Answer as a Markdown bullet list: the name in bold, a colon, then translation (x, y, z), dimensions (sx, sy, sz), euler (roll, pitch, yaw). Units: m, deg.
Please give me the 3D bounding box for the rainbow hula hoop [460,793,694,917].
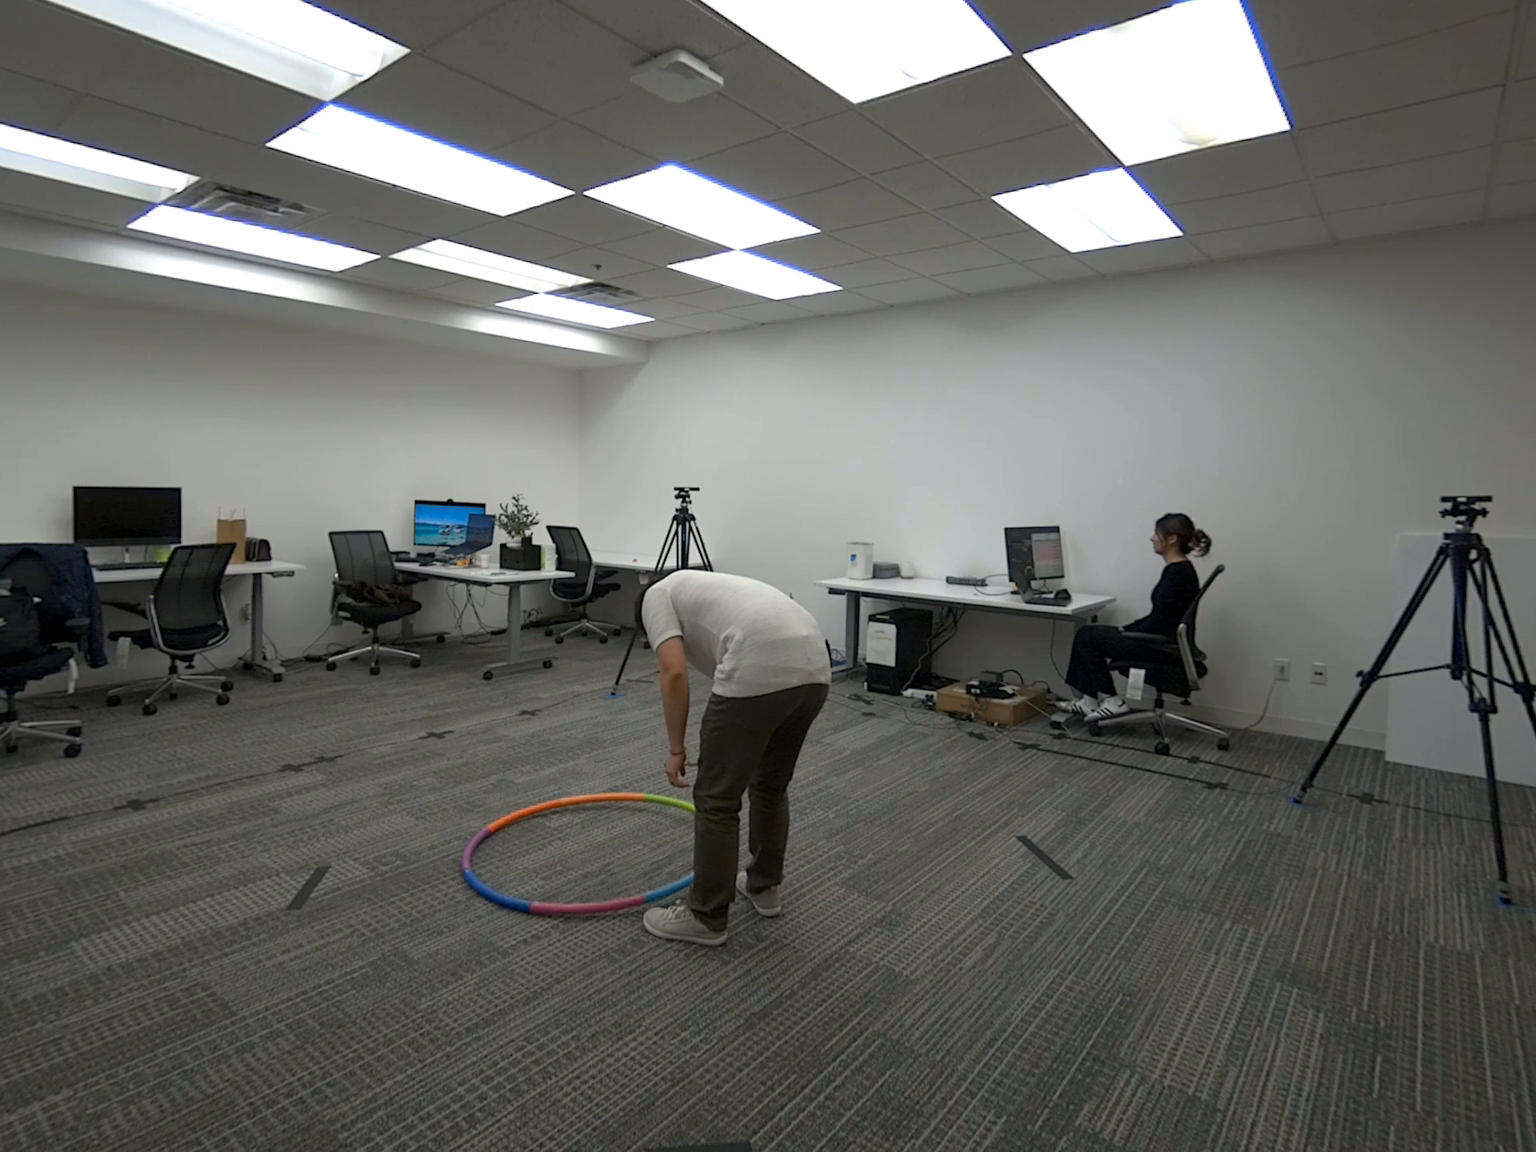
- **rainbow hula hoop**: translation (-0.662, 0.985, 3.211), dimensions (0.978, 0.035, 0.984), euler (-3, 7, -2)
